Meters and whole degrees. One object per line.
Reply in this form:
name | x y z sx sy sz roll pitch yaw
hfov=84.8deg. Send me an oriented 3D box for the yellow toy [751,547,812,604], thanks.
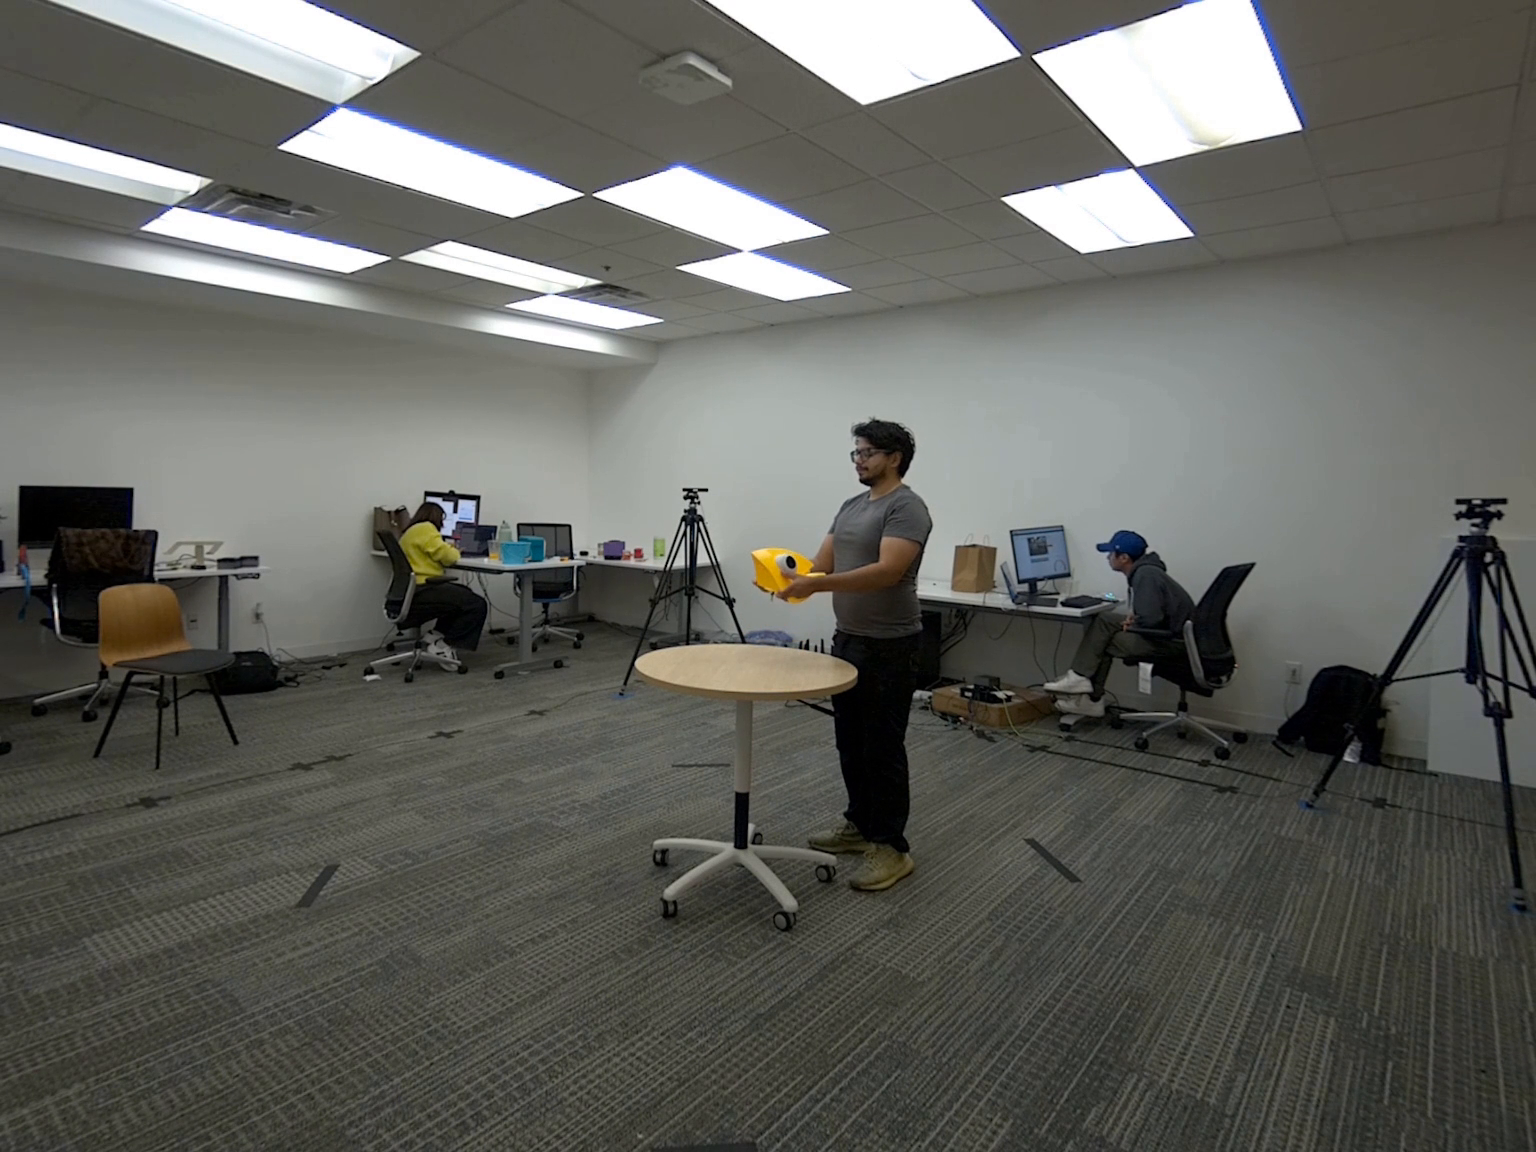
yellow toy | 0.038 -0.041 3.016 0.192 0.224 0.211 -42 23 -14
